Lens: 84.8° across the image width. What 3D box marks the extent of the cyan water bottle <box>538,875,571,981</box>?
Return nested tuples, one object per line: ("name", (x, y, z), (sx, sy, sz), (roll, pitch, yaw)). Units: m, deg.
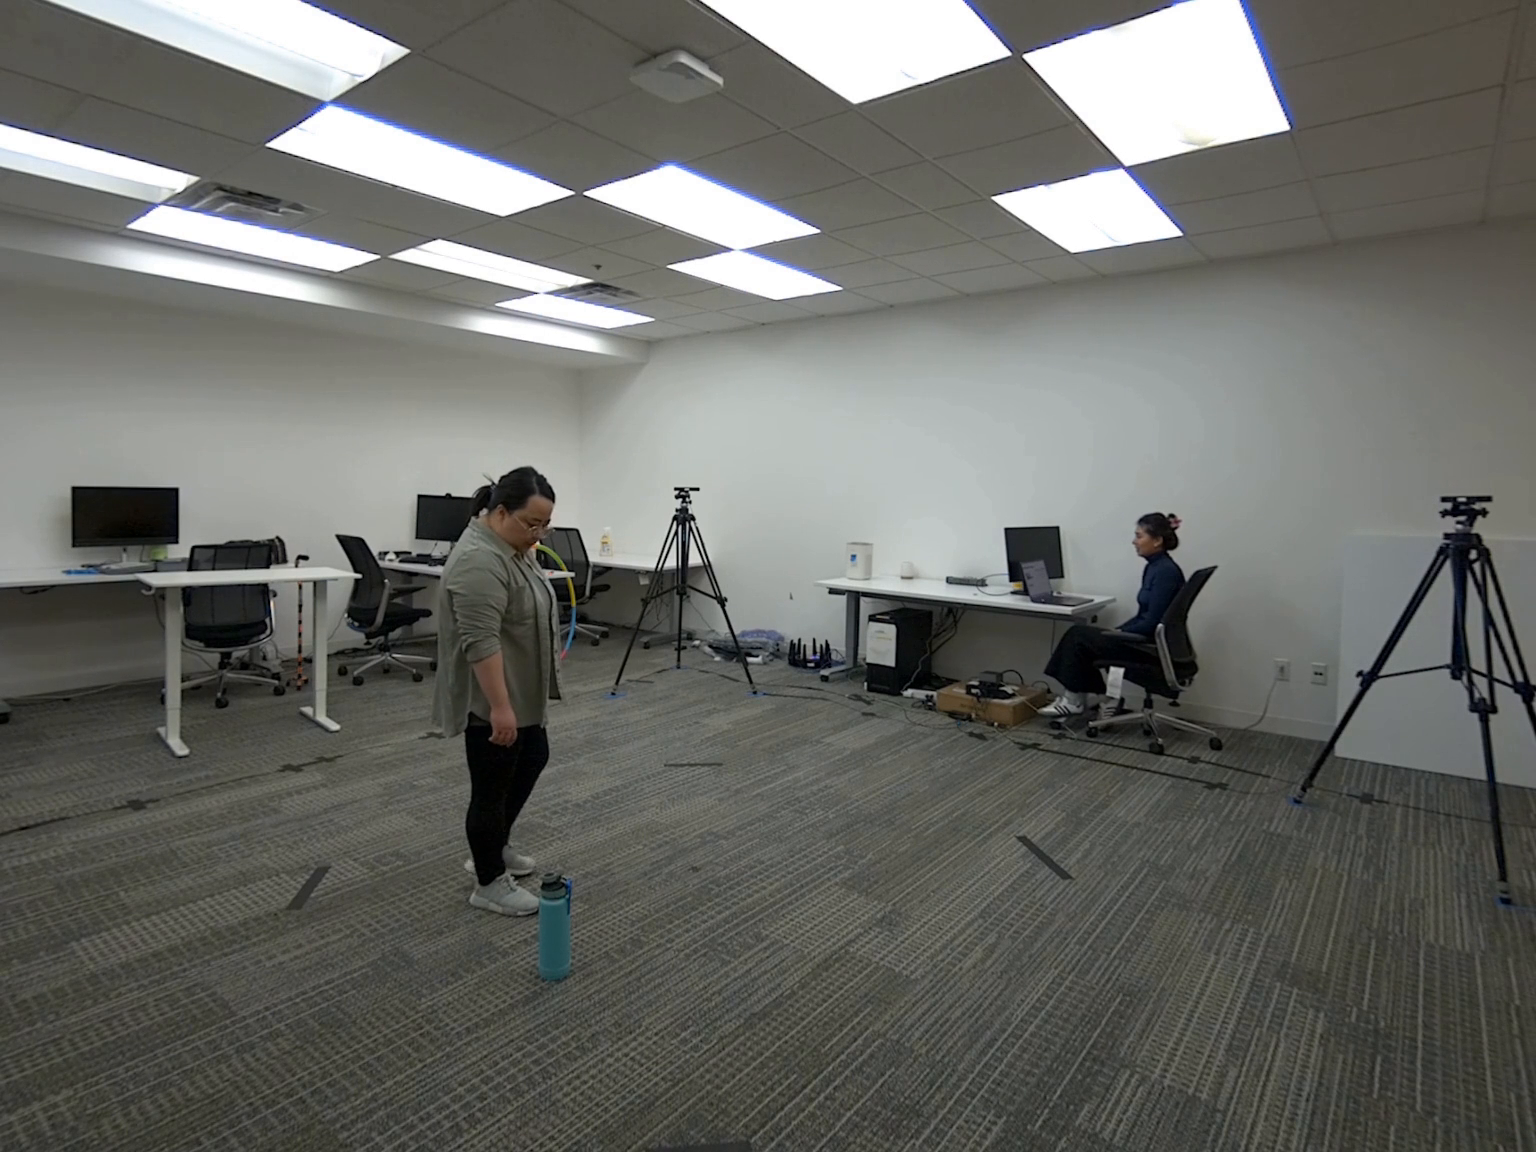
("cyan water bottle", (-0.619, 0.991, 2.423), (0.092, 0.282, 0.093), (1, 4, -2))
